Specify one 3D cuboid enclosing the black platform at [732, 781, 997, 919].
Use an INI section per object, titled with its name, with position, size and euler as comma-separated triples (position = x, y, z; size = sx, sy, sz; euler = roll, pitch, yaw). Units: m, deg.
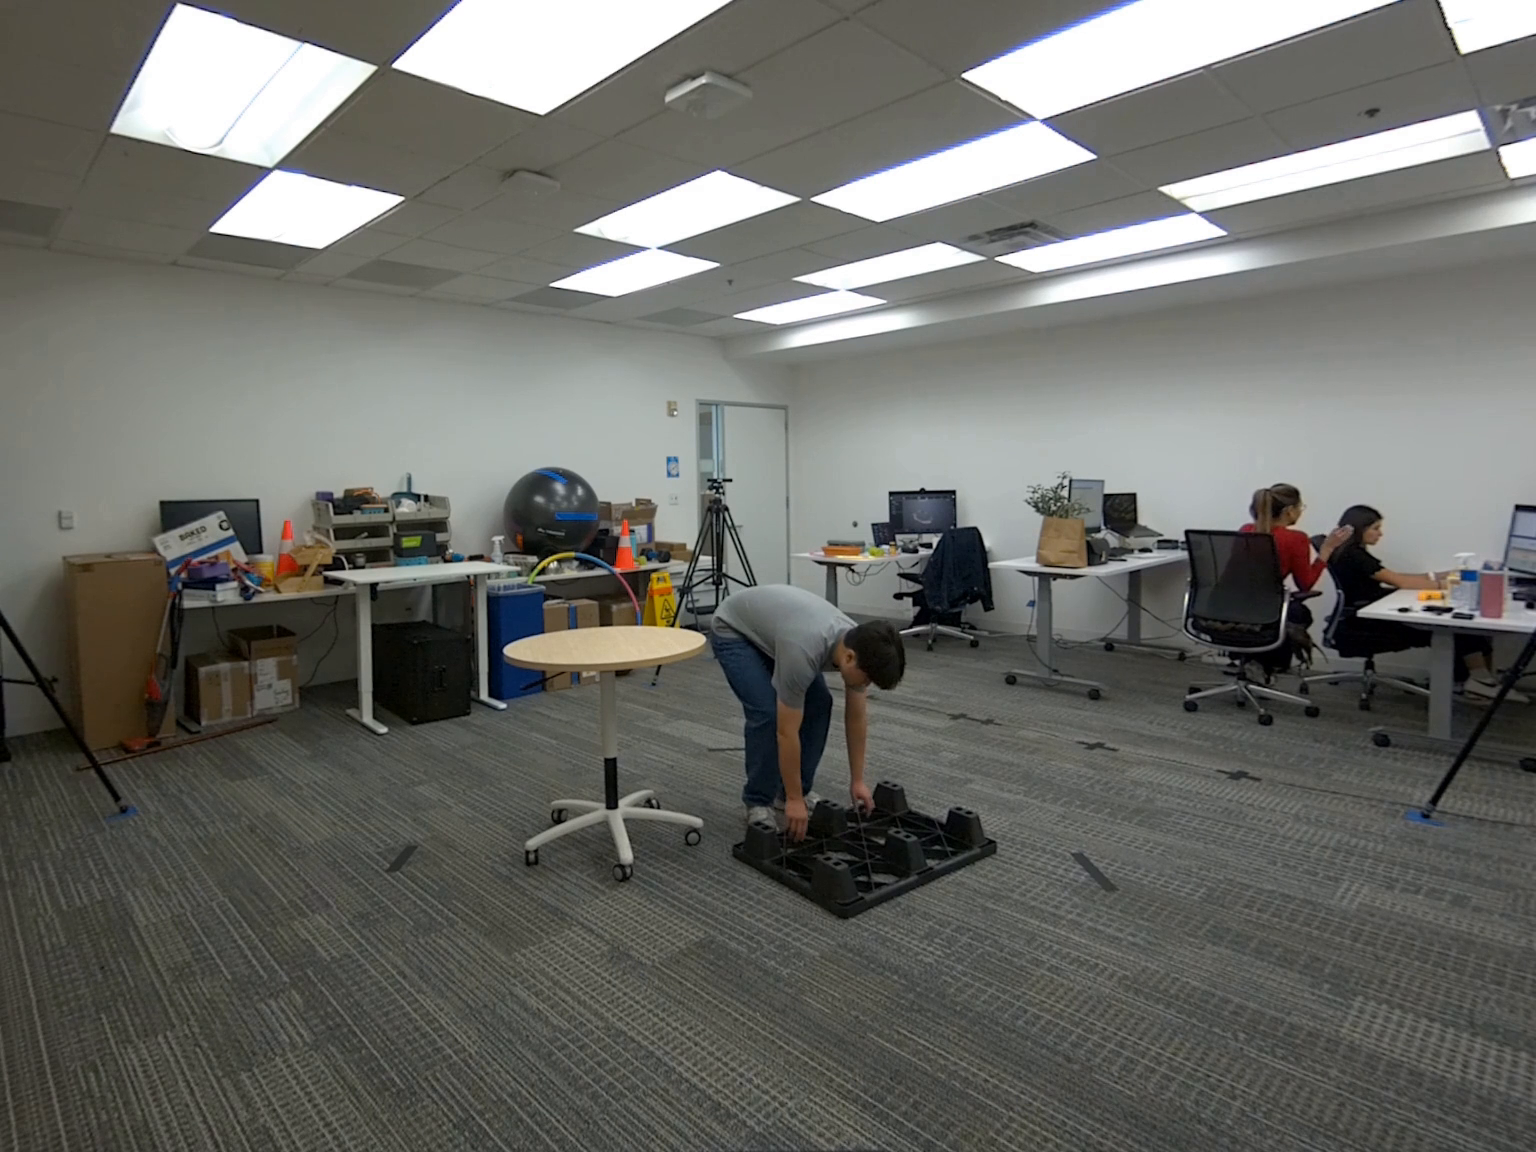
[black platform]
position = 0.361, 0.970, 3.164
size = 0.785, 0.143, 0.624
euler = -5, 8, -38
